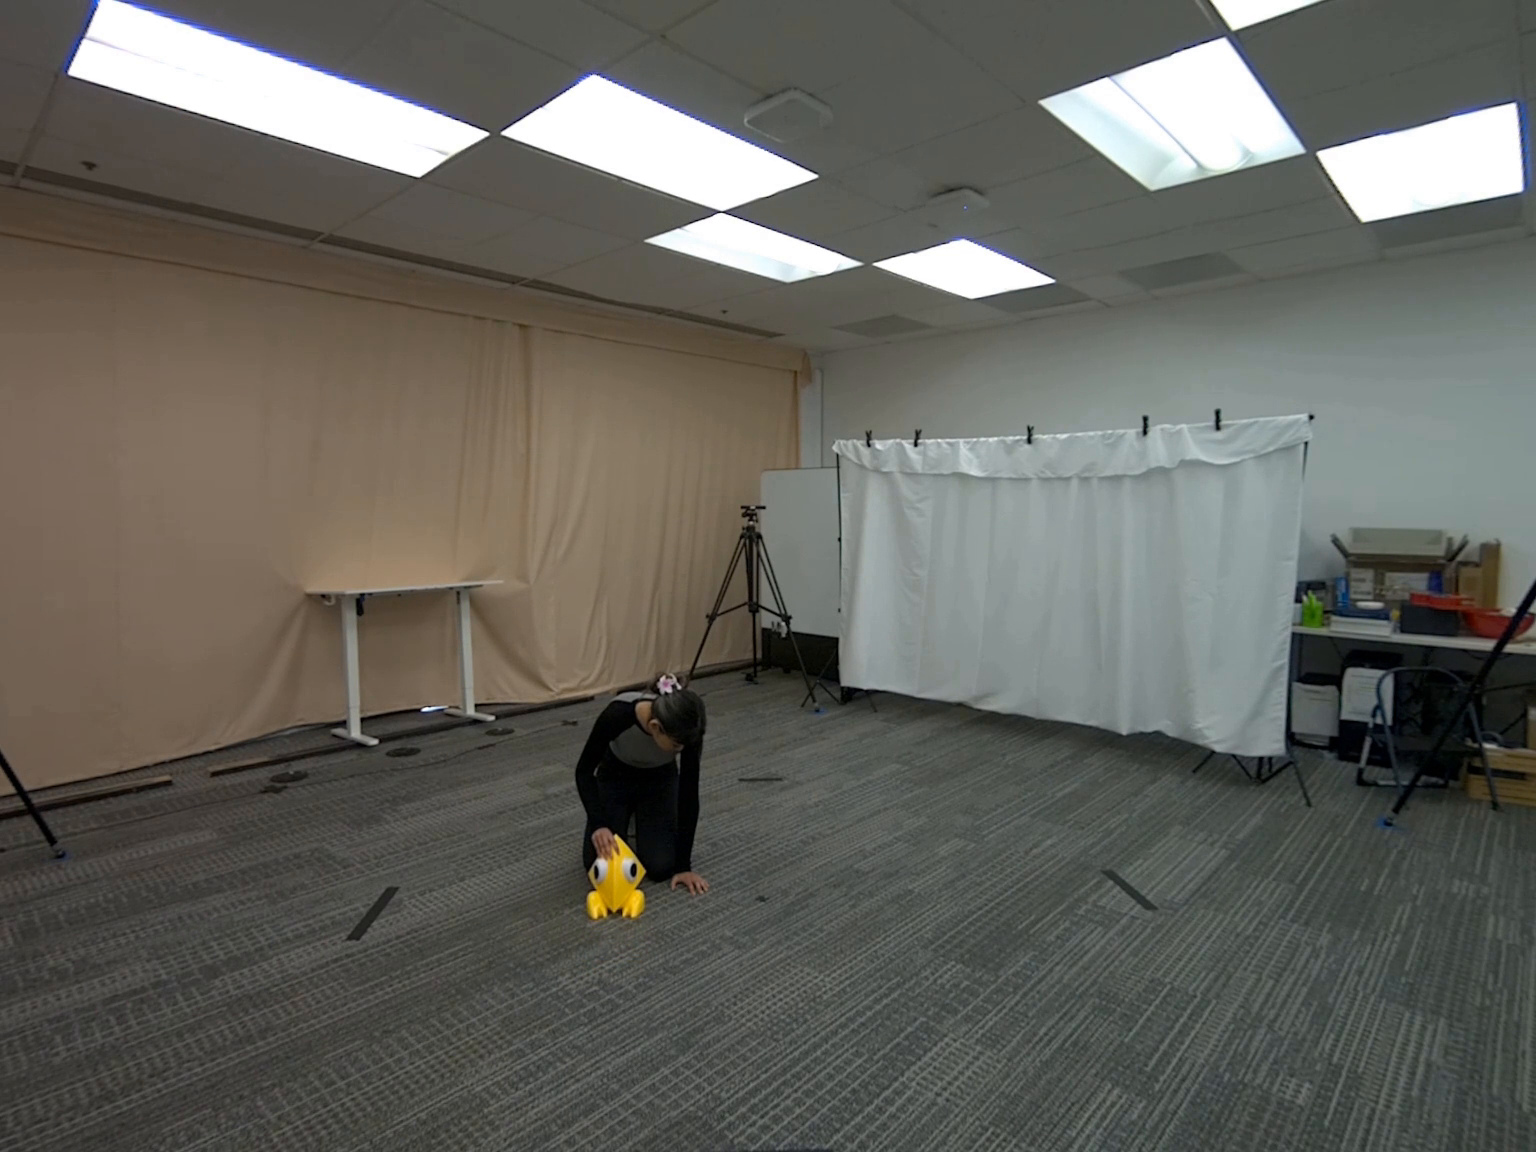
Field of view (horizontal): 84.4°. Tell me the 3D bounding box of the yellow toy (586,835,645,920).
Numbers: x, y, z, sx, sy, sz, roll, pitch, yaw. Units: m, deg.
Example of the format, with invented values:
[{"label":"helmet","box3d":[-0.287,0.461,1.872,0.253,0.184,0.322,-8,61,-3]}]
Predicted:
[{"label":"yellow toy","box3d":[-0.530,1.034,2.928,0.204,0.230,0.194,-1,3,-4]}]
